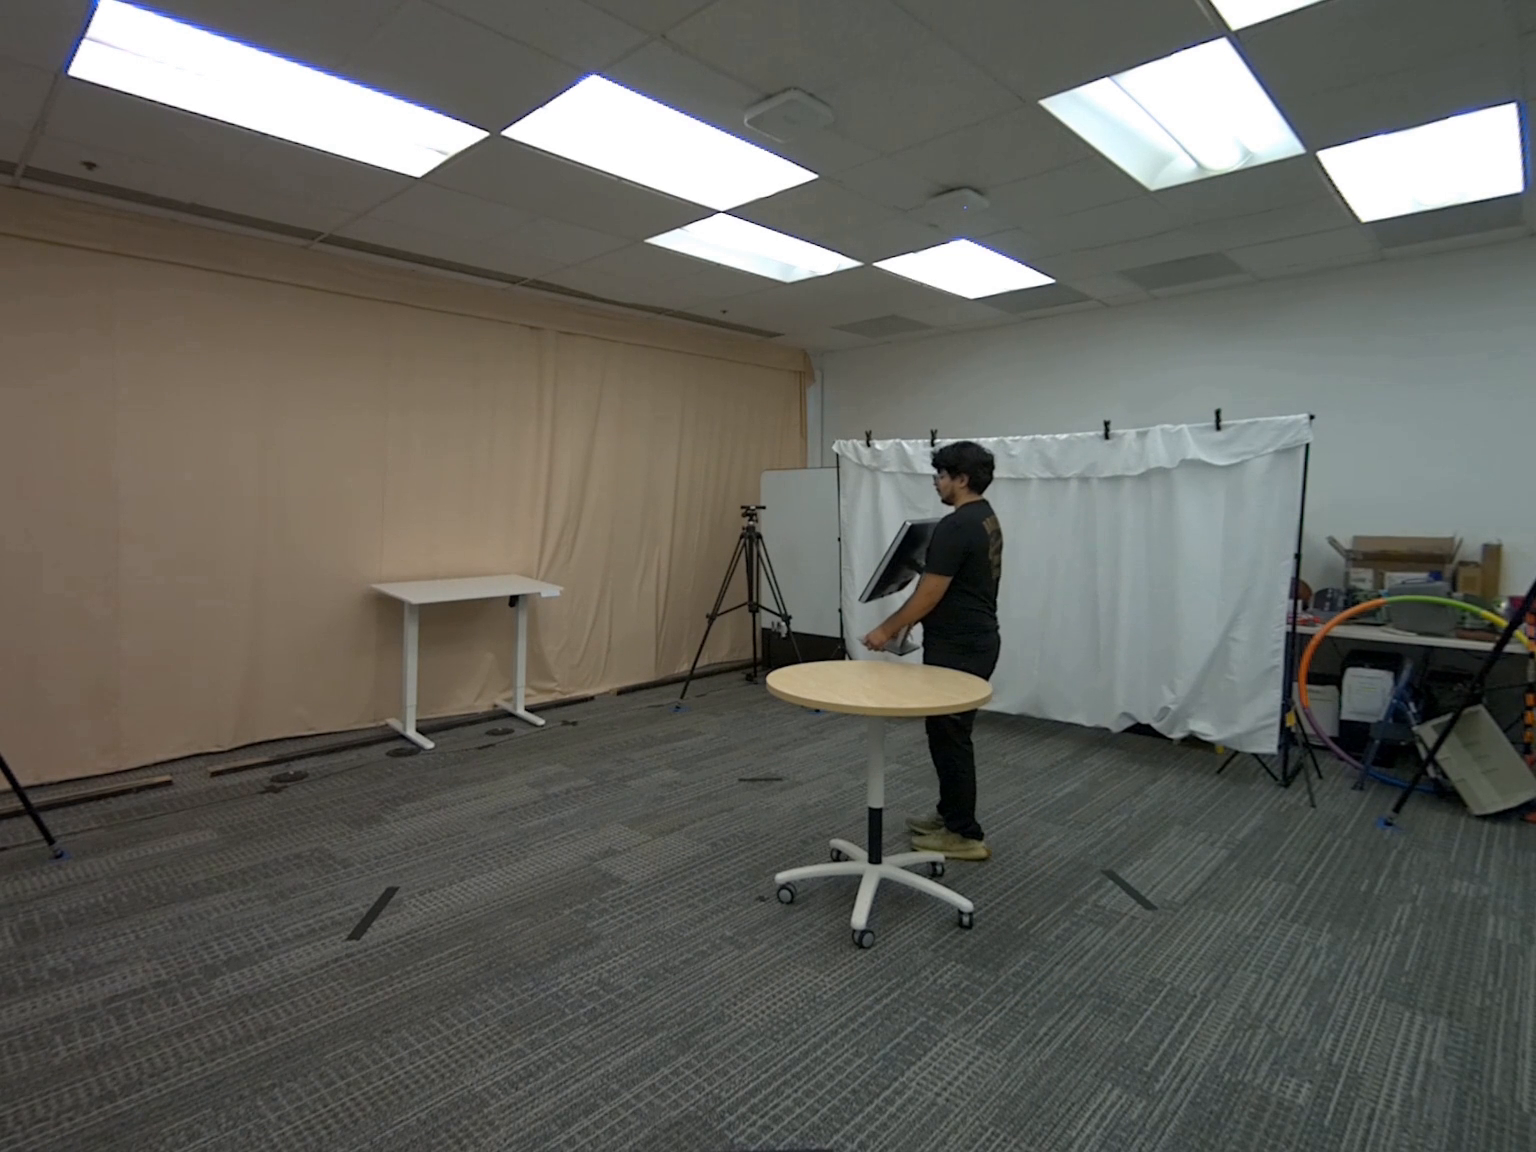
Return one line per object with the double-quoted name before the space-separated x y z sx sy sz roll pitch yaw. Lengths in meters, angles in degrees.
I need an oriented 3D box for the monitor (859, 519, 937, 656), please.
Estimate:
"monitor" 0.588 0.047 3.428 0.216 0.552 0.551 28 16 23
